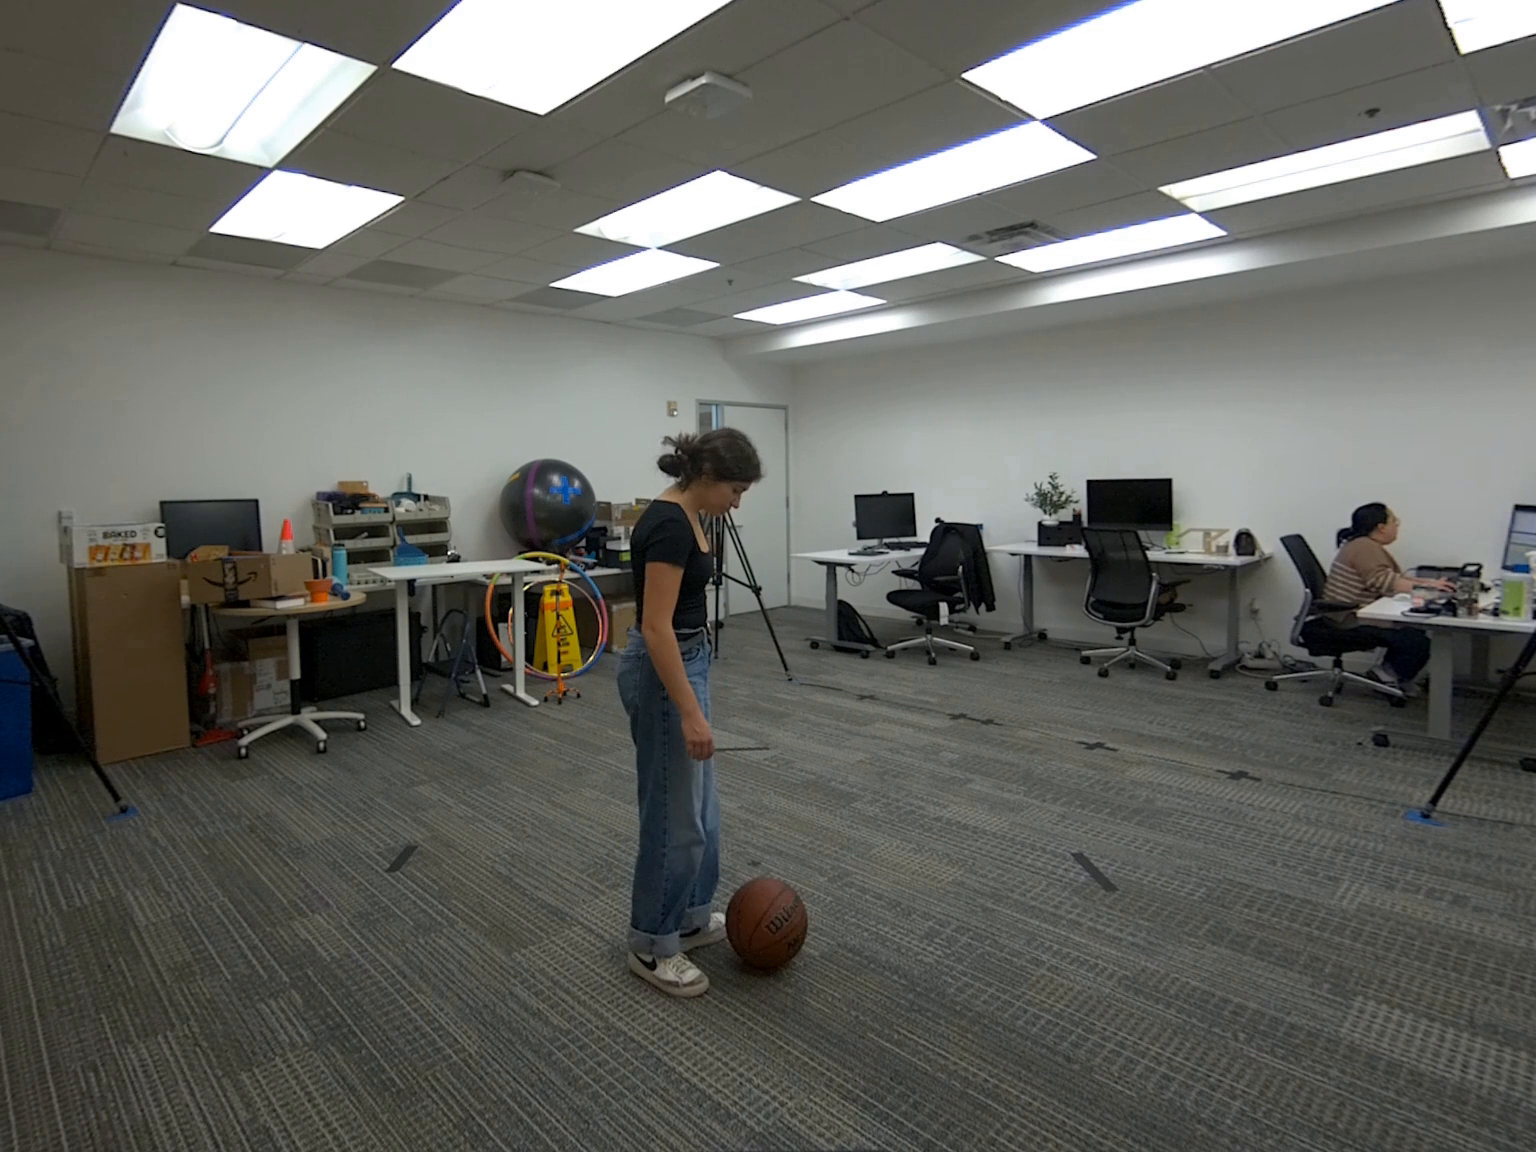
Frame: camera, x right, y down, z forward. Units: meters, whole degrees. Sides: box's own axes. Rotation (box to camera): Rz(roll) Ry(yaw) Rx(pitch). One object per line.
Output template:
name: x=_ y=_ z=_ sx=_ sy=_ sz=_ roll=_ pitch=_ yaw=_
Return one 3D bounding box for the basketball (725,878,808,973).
basketball: x=-0.005 y=0.995 z=2.466 sx=0.236 sy=0.235 sz=0.237 roll=-1 pitch=5 yaw=-2
